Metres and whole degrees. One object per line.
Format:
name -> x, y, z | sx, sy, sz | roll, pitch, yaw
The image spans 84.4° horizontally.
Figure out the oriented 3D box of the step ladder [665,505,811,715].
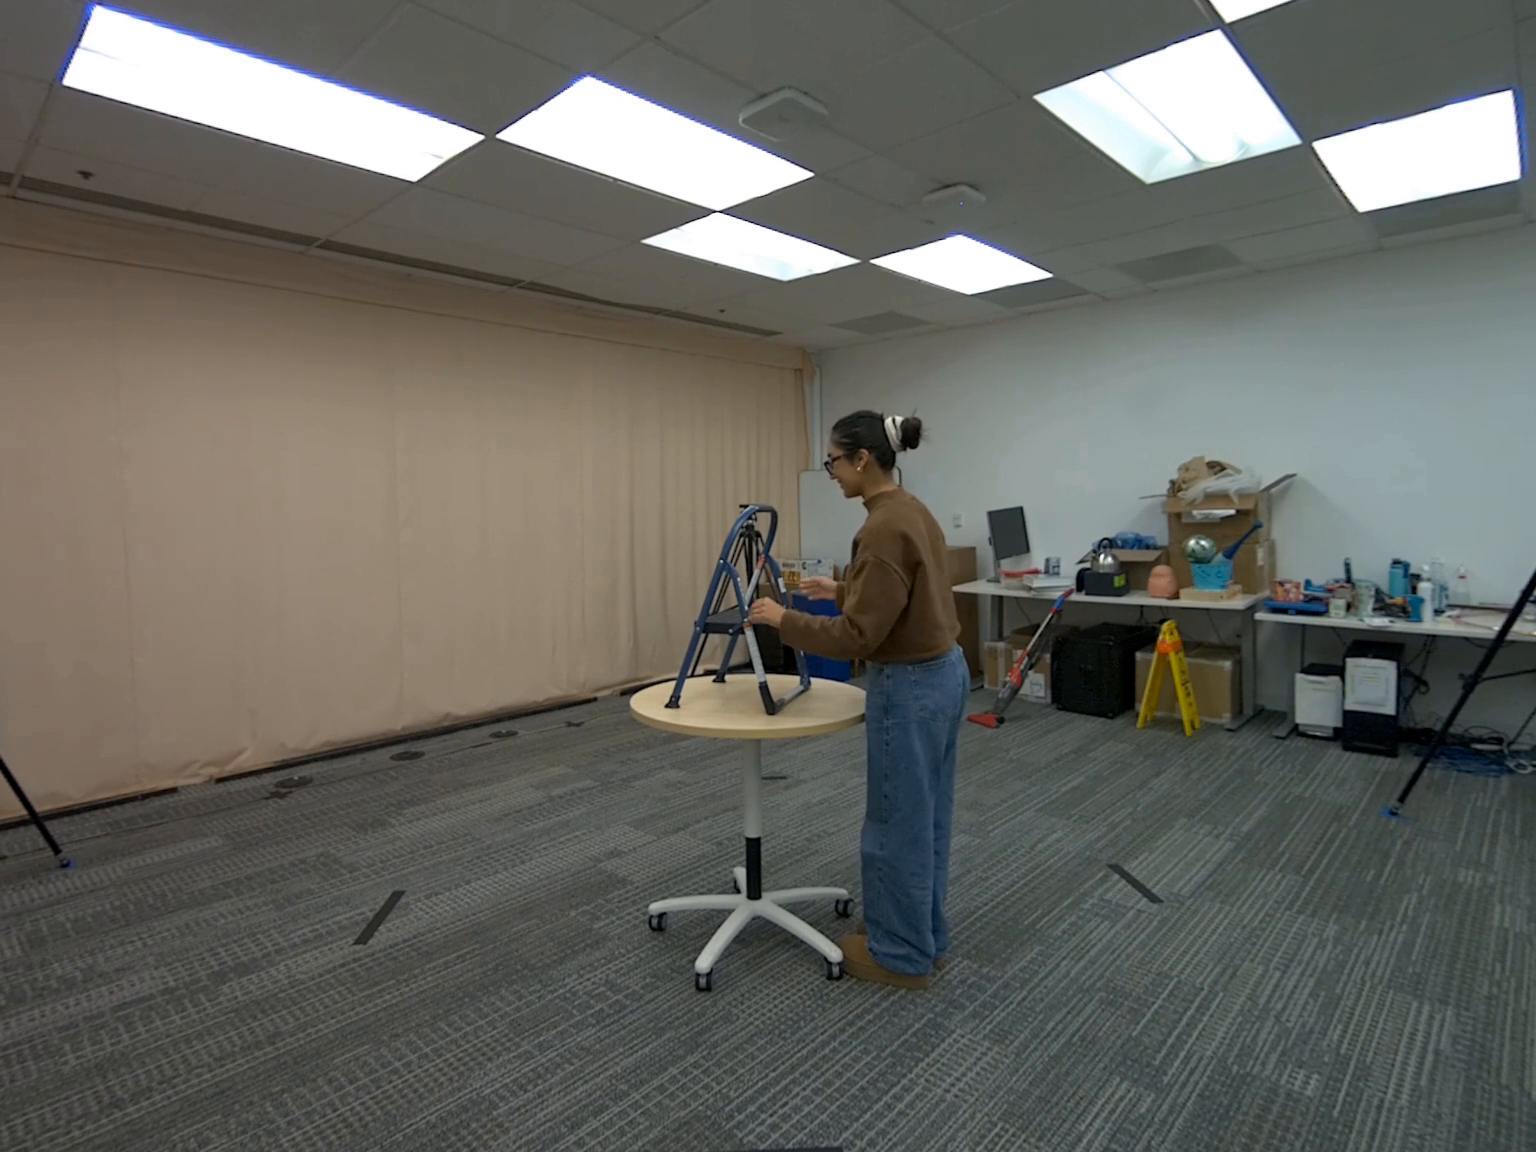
step ladder -> -0.082, 0.085, 2.657 | 0.357, 0.605, 0.422 | 0, 3, 20
